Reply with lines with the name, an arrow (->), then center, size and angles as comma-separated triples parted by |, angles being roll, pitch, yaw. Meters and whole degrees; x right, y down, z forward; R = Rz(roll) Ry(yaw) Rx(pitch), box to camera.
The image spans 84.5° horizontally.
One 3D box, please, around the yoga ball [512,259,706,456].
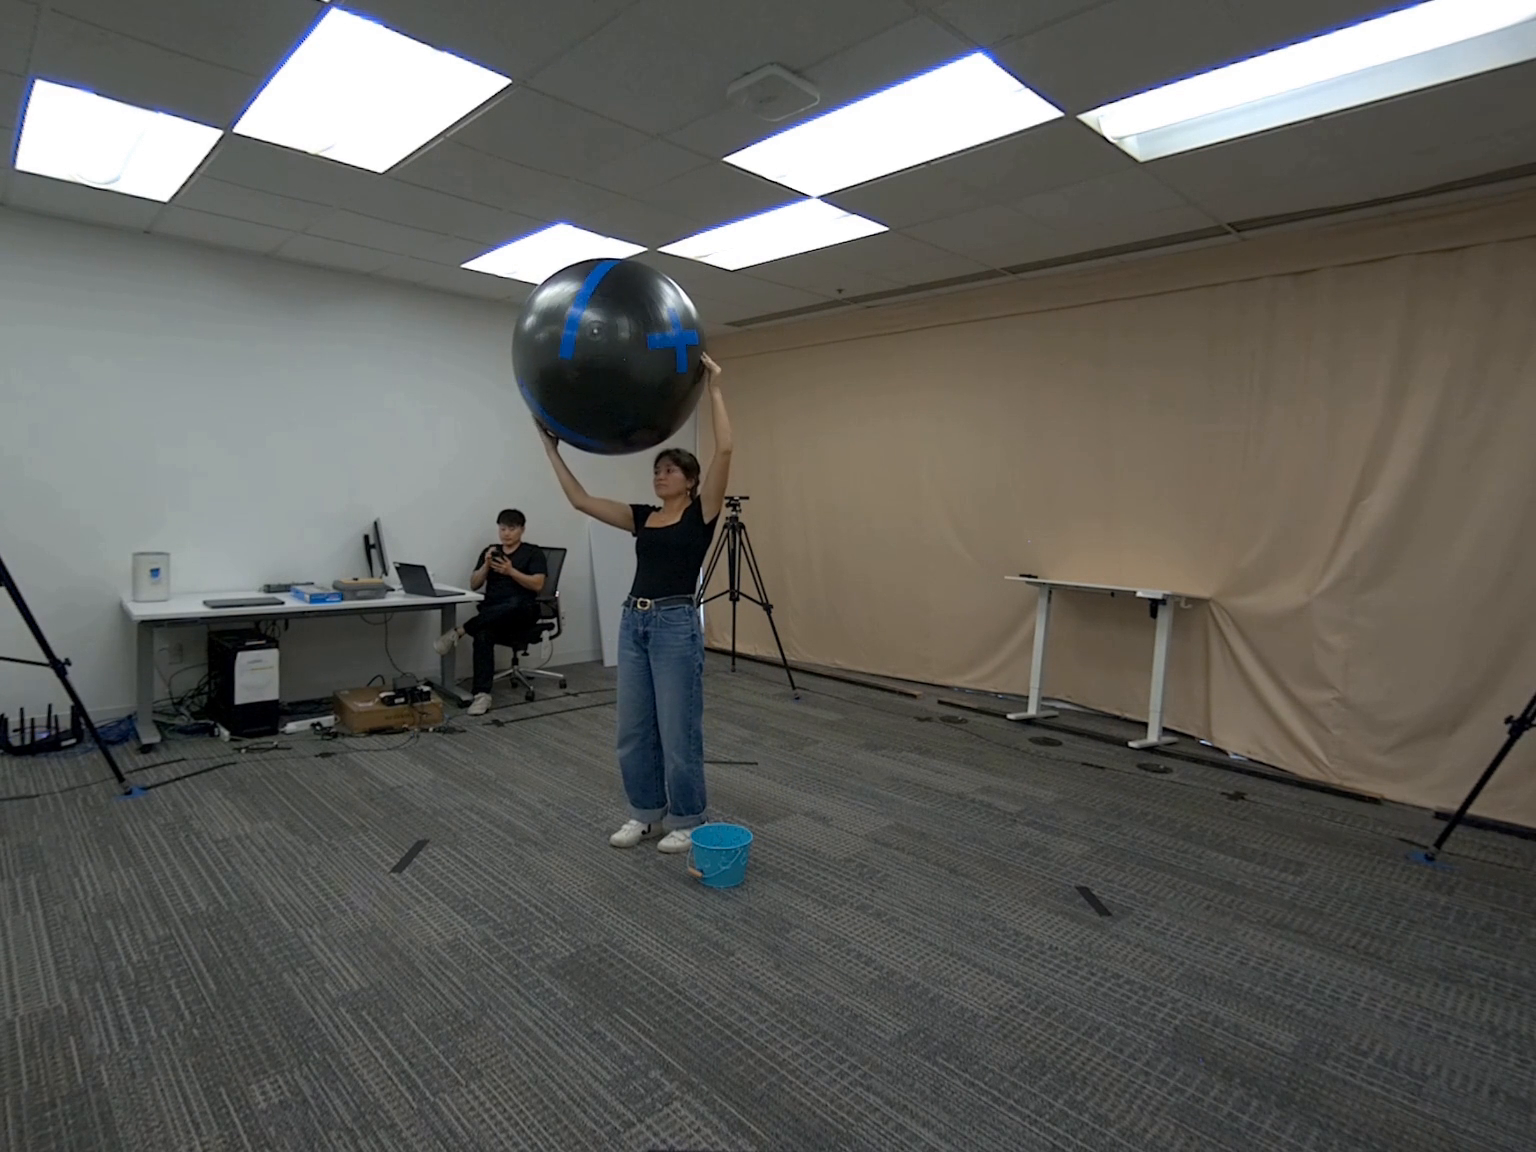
yoga ball -> -0.611, -0.852, 3.304 | 0.757, 0.756, 0.761 | 1, 4, -1
